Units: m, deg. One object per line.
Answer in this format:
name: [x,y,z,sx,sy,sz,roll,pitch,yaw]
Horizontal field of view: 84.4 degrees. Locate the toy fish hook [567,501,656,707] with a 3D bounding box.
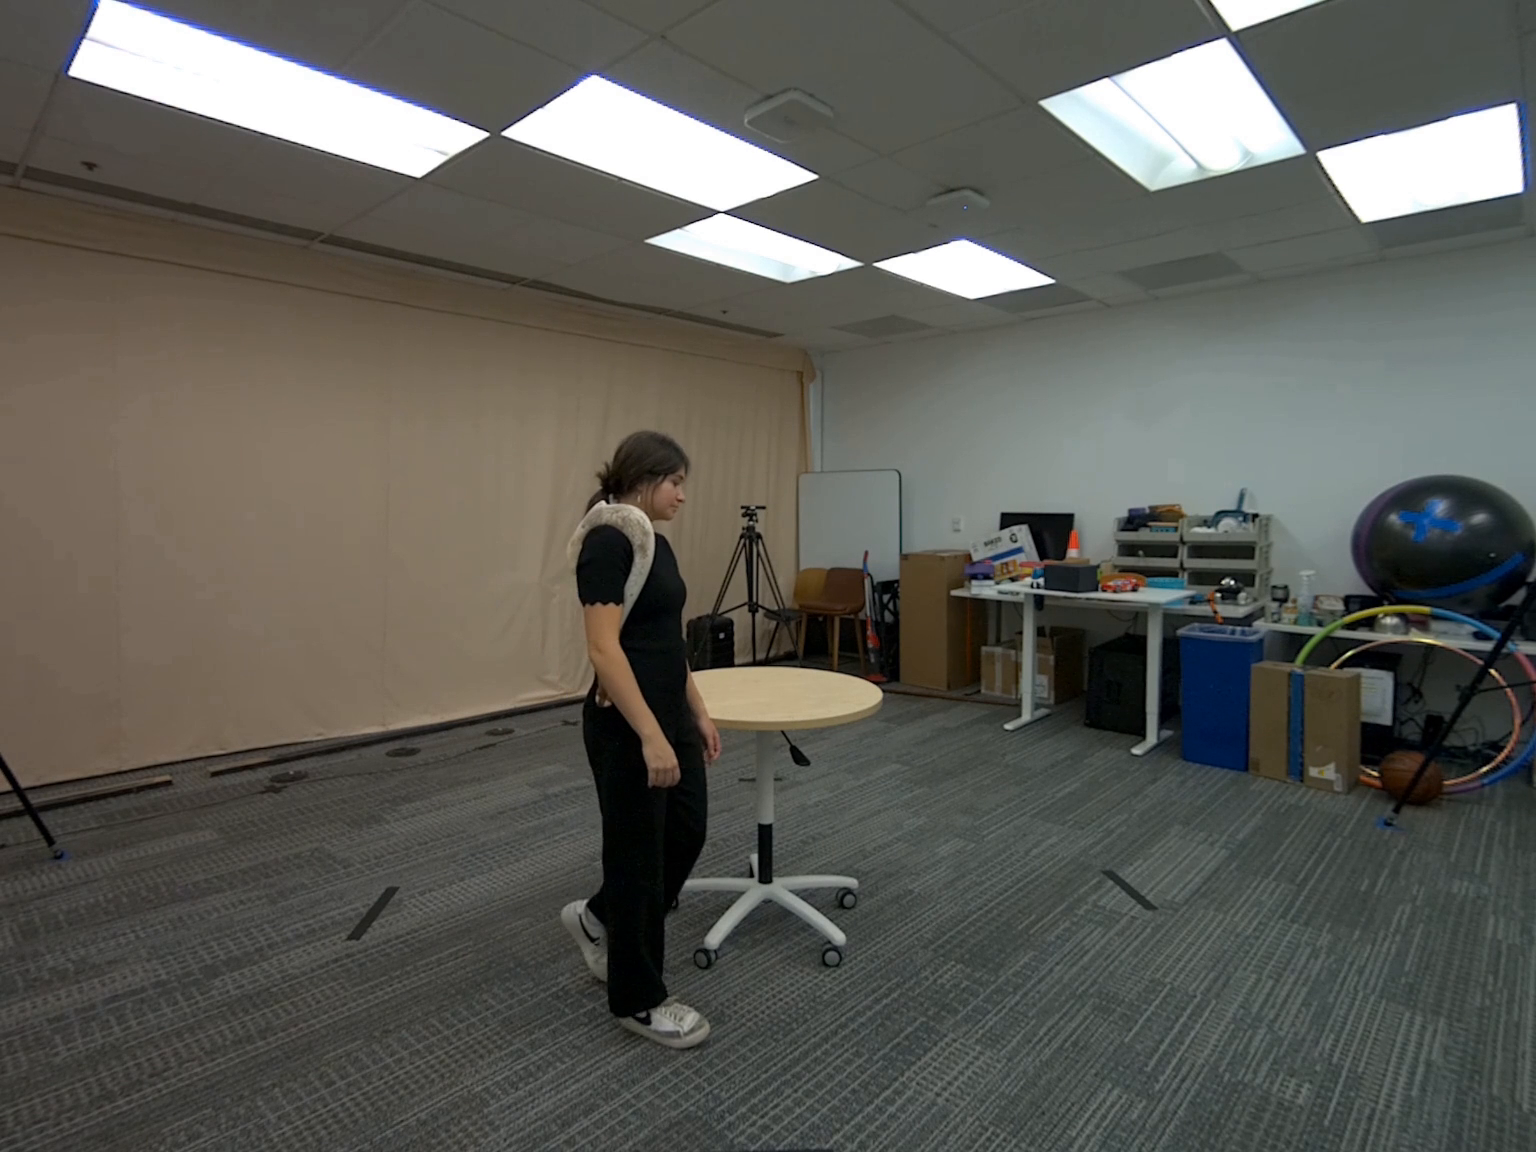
toy fish hook: [-0.415,0.068,2.119,0.229,0.507,0.047,6,-4,18]
